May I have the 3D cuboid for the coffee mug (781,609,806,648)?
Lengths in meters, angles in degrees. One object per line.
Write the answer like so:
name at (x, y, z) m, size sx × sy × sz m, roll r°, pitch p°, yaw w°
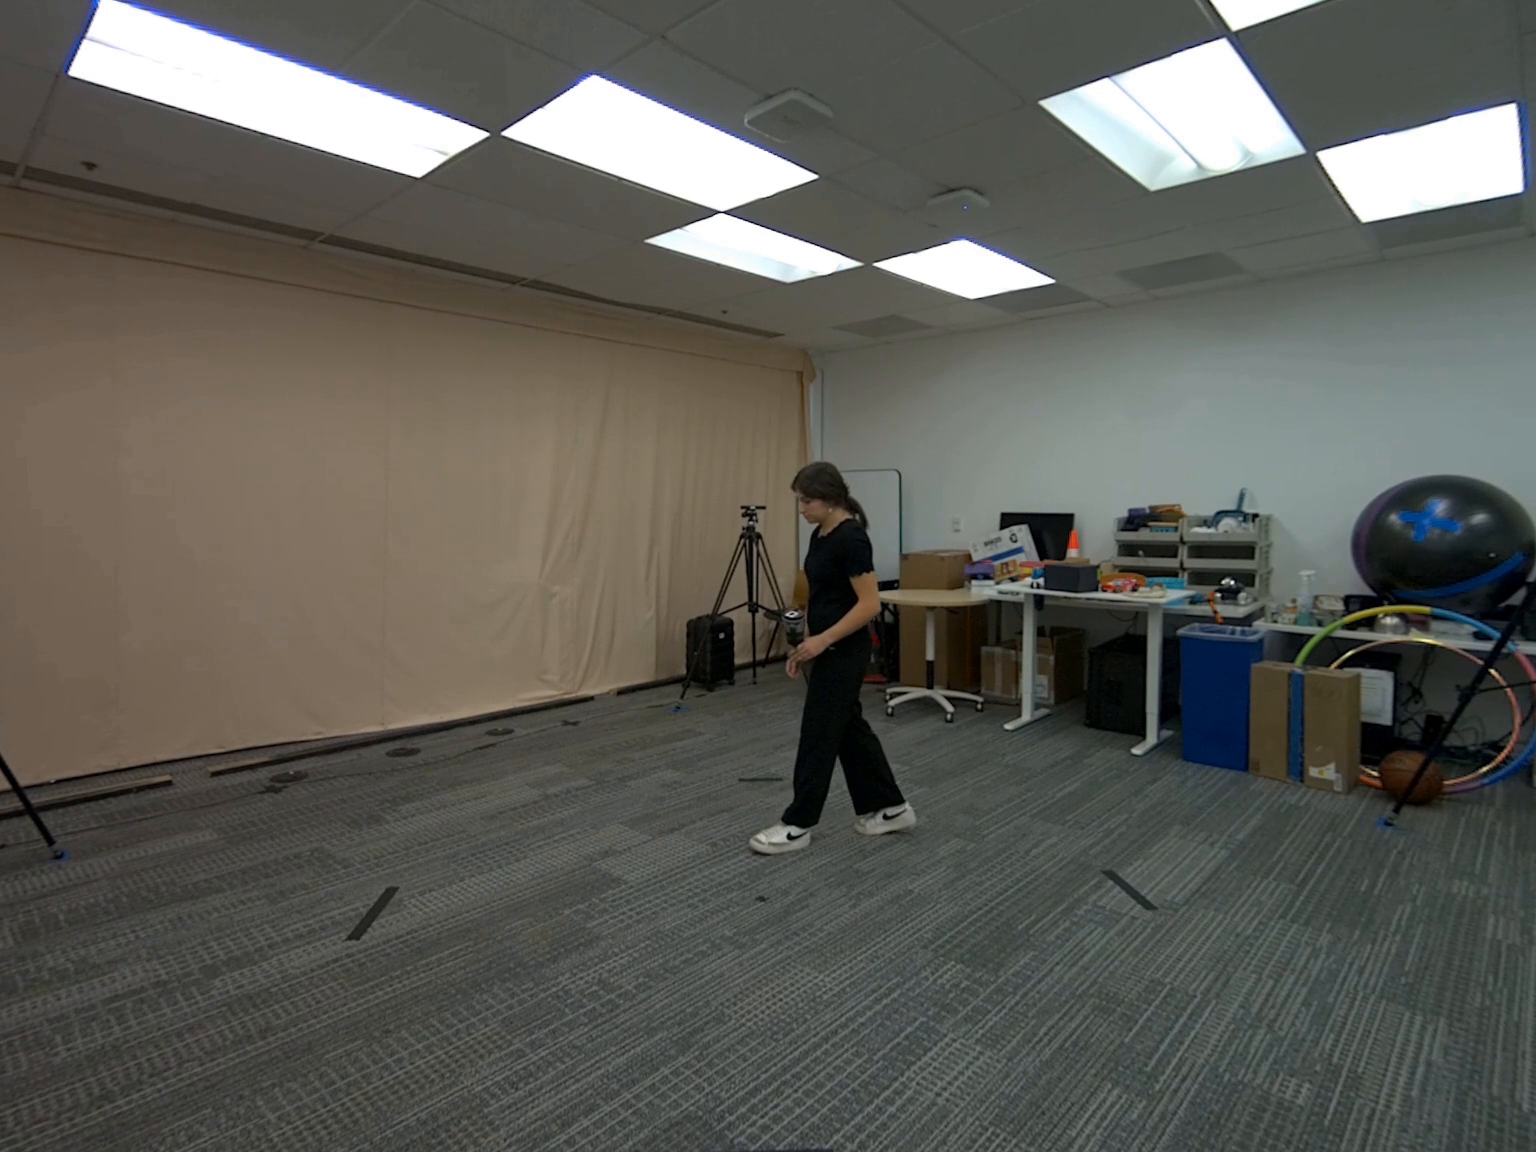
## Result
coffee mug at (0.101, 0.235, 3.287) m, size 0.089 × 0.200 × 0.121 m, roll 6°, pitch 22°, yaw 16°
